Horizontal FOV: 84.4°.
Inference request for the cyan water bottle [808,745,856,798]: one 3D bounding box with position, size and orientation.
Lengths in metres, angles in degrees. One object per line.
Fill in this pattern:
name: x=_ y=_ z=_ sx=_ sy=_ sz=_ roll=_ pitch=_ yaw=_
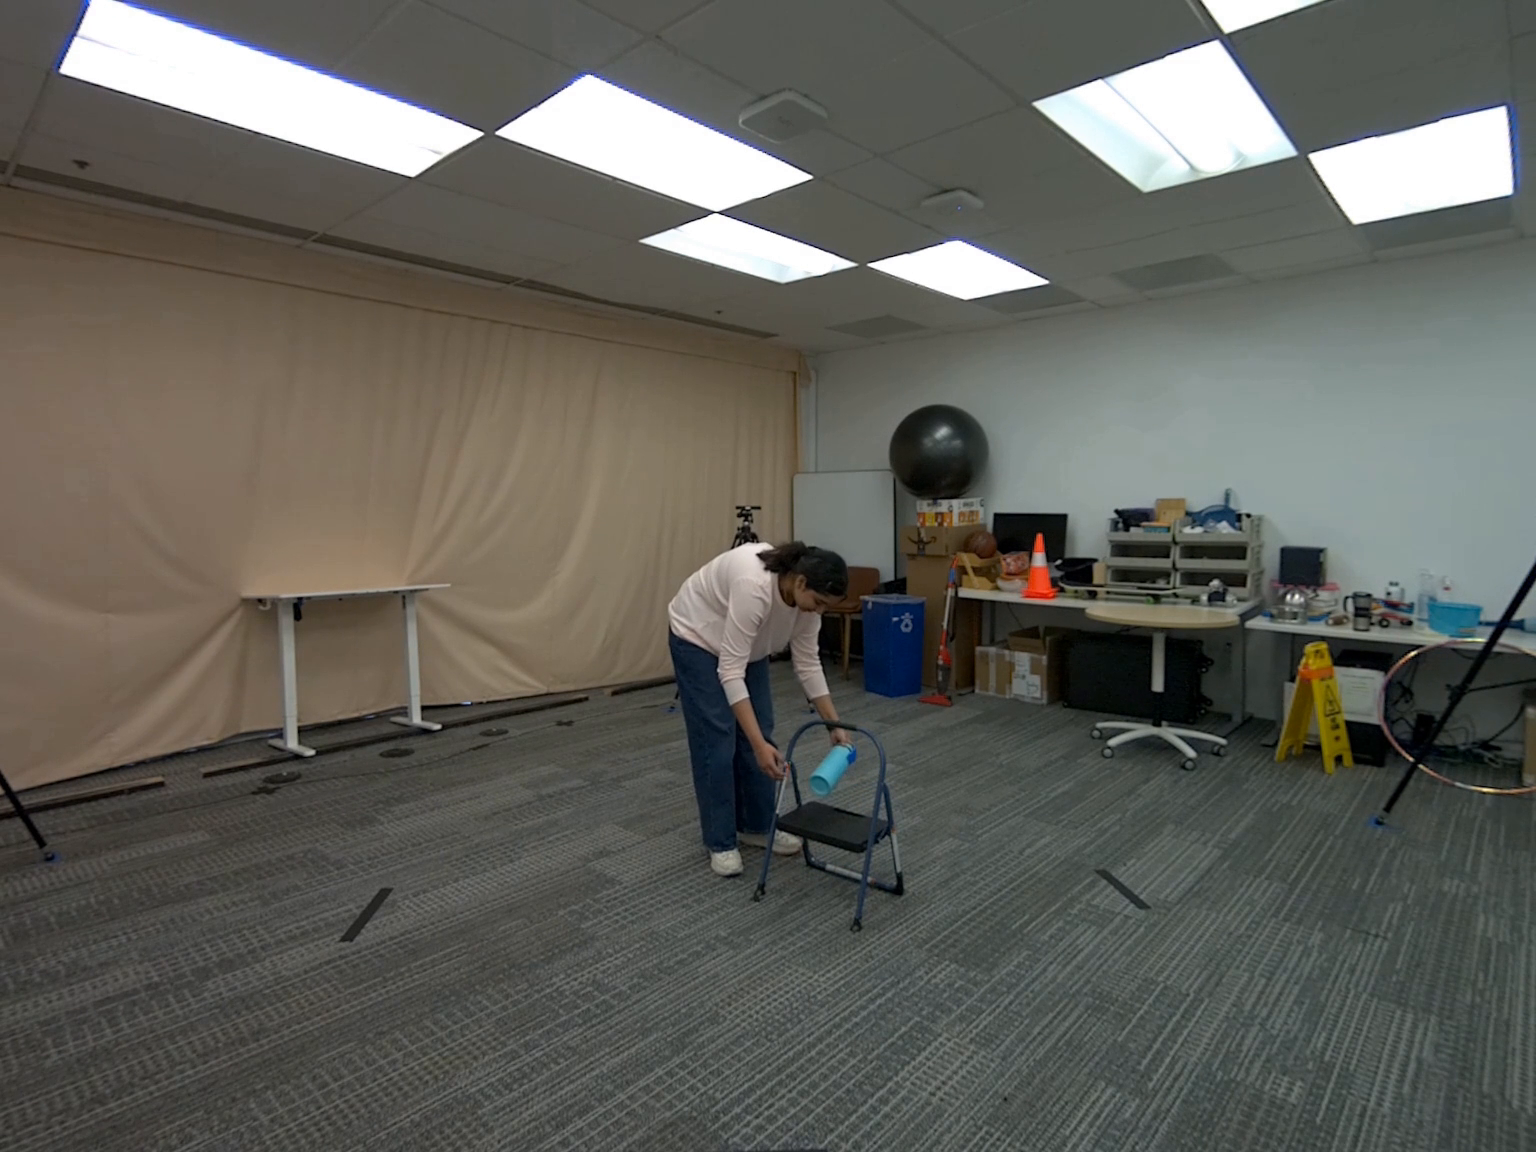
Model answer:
cyan water bottle: x=0.238 y=0.701 z=3.126 sx=0.095 sy=0.091 sz=0.278 roll=2 pitch=19 yaw=31
